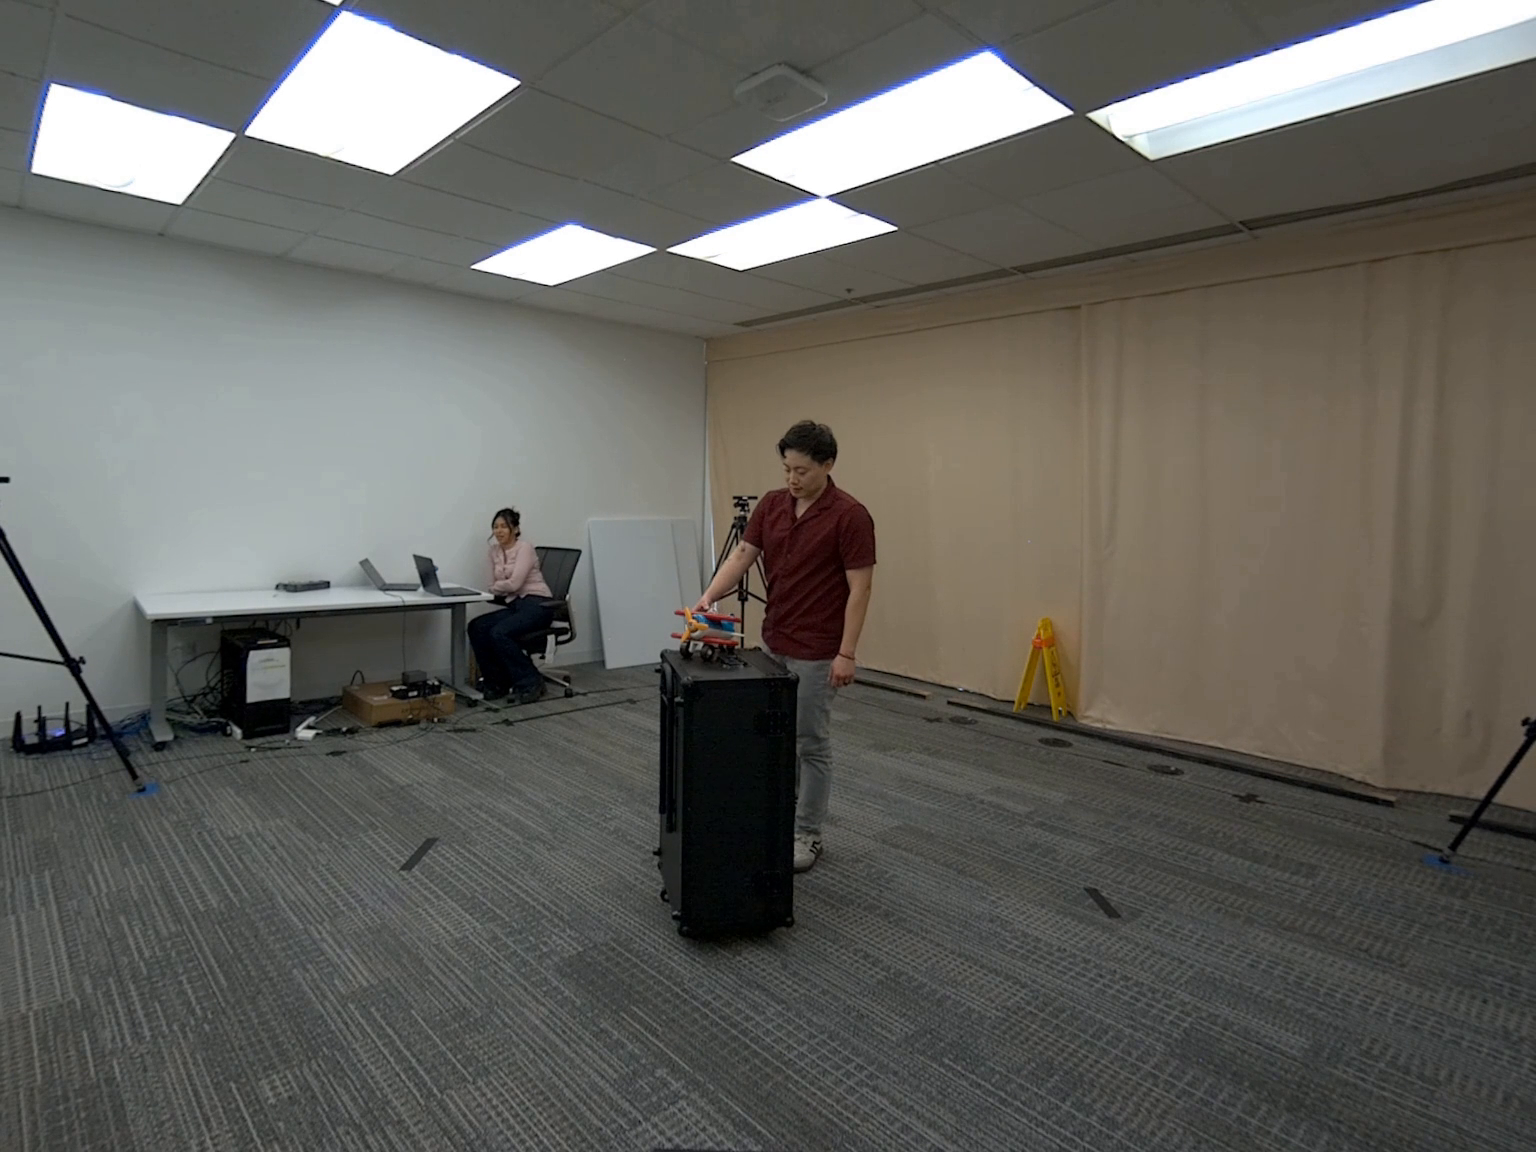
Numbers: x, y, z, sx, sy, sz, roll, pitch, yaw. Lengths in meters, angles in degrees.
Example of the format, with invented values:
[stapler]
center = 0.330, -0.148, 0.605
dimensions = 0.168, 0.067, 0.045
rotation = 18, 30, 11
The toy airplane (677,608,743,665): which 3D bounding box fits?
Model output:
[toy airplane]
center = -0.223, 0.189, 2.894
dimensions = 0.252, 0.156, 0.259
rotation = 2, 6, 4
